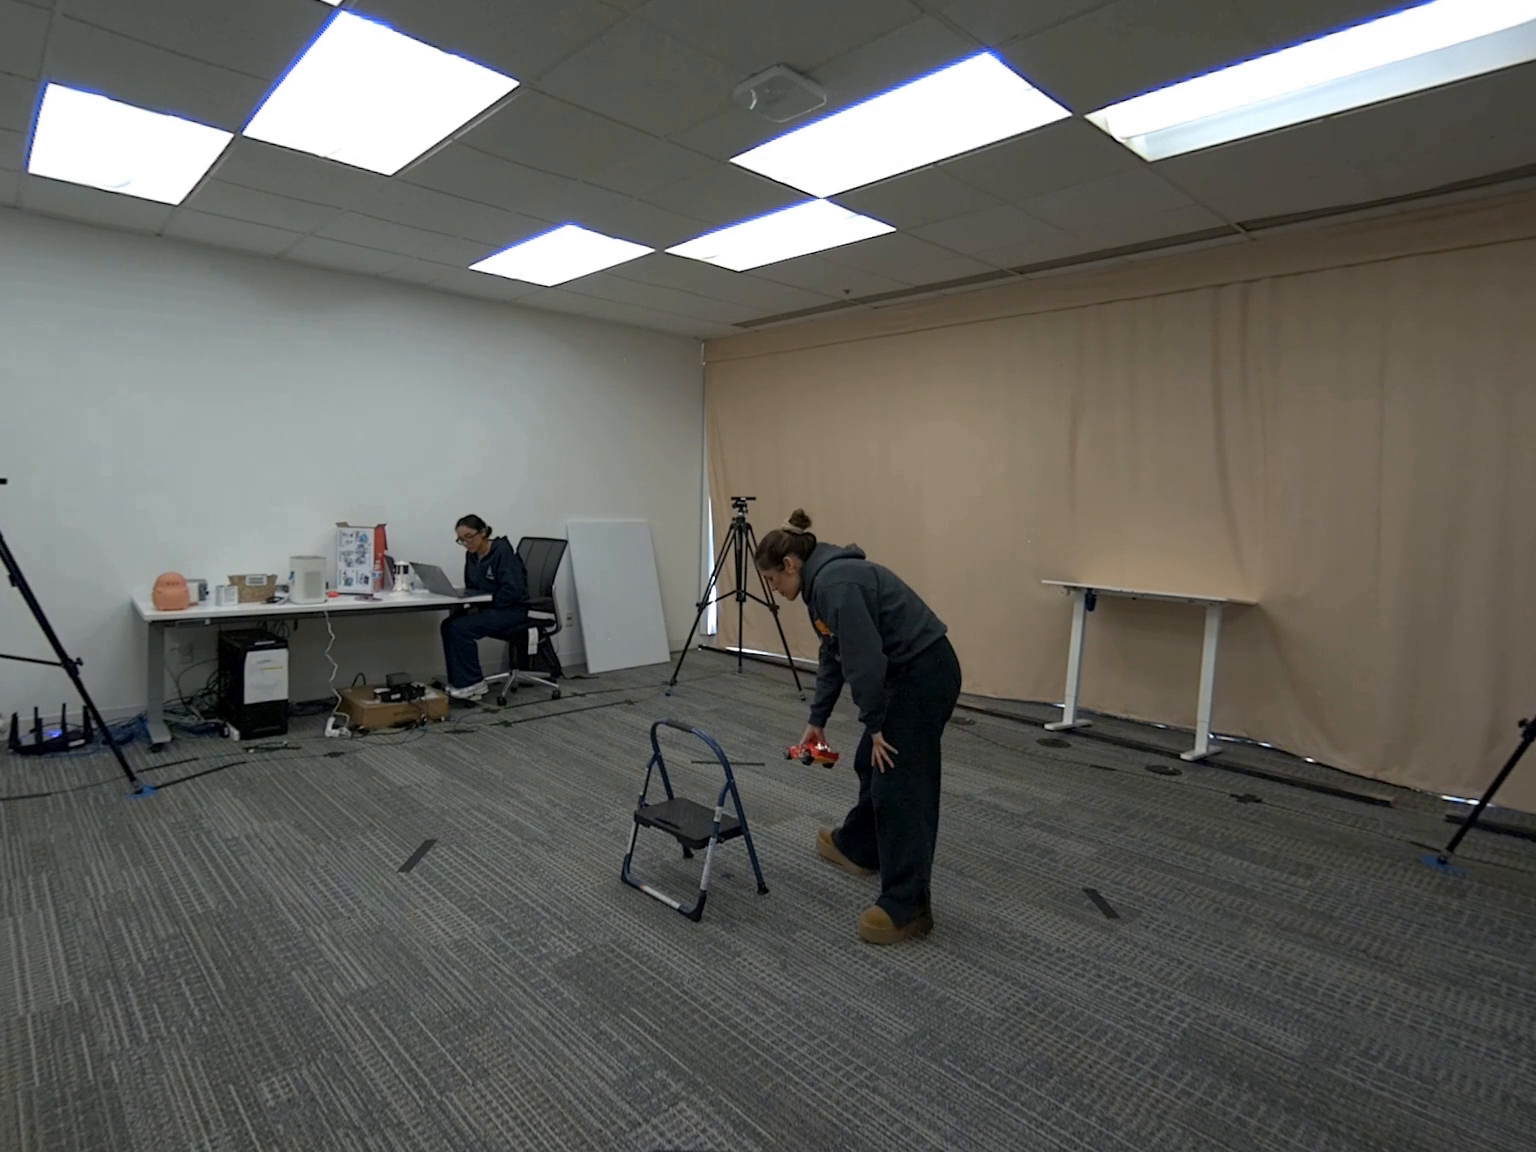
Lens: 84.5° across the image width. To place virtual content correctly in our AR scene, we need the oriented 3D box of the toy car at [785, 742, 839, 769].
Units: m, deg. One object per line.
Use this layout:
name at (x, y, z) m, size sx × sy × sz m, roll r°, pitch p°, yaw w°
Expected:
toy car at (0.157, 0.672, 3.149) m, size 0.127 × 0.084 × 0.257 m, roll 22°, pitch -28°, yaw -26°
